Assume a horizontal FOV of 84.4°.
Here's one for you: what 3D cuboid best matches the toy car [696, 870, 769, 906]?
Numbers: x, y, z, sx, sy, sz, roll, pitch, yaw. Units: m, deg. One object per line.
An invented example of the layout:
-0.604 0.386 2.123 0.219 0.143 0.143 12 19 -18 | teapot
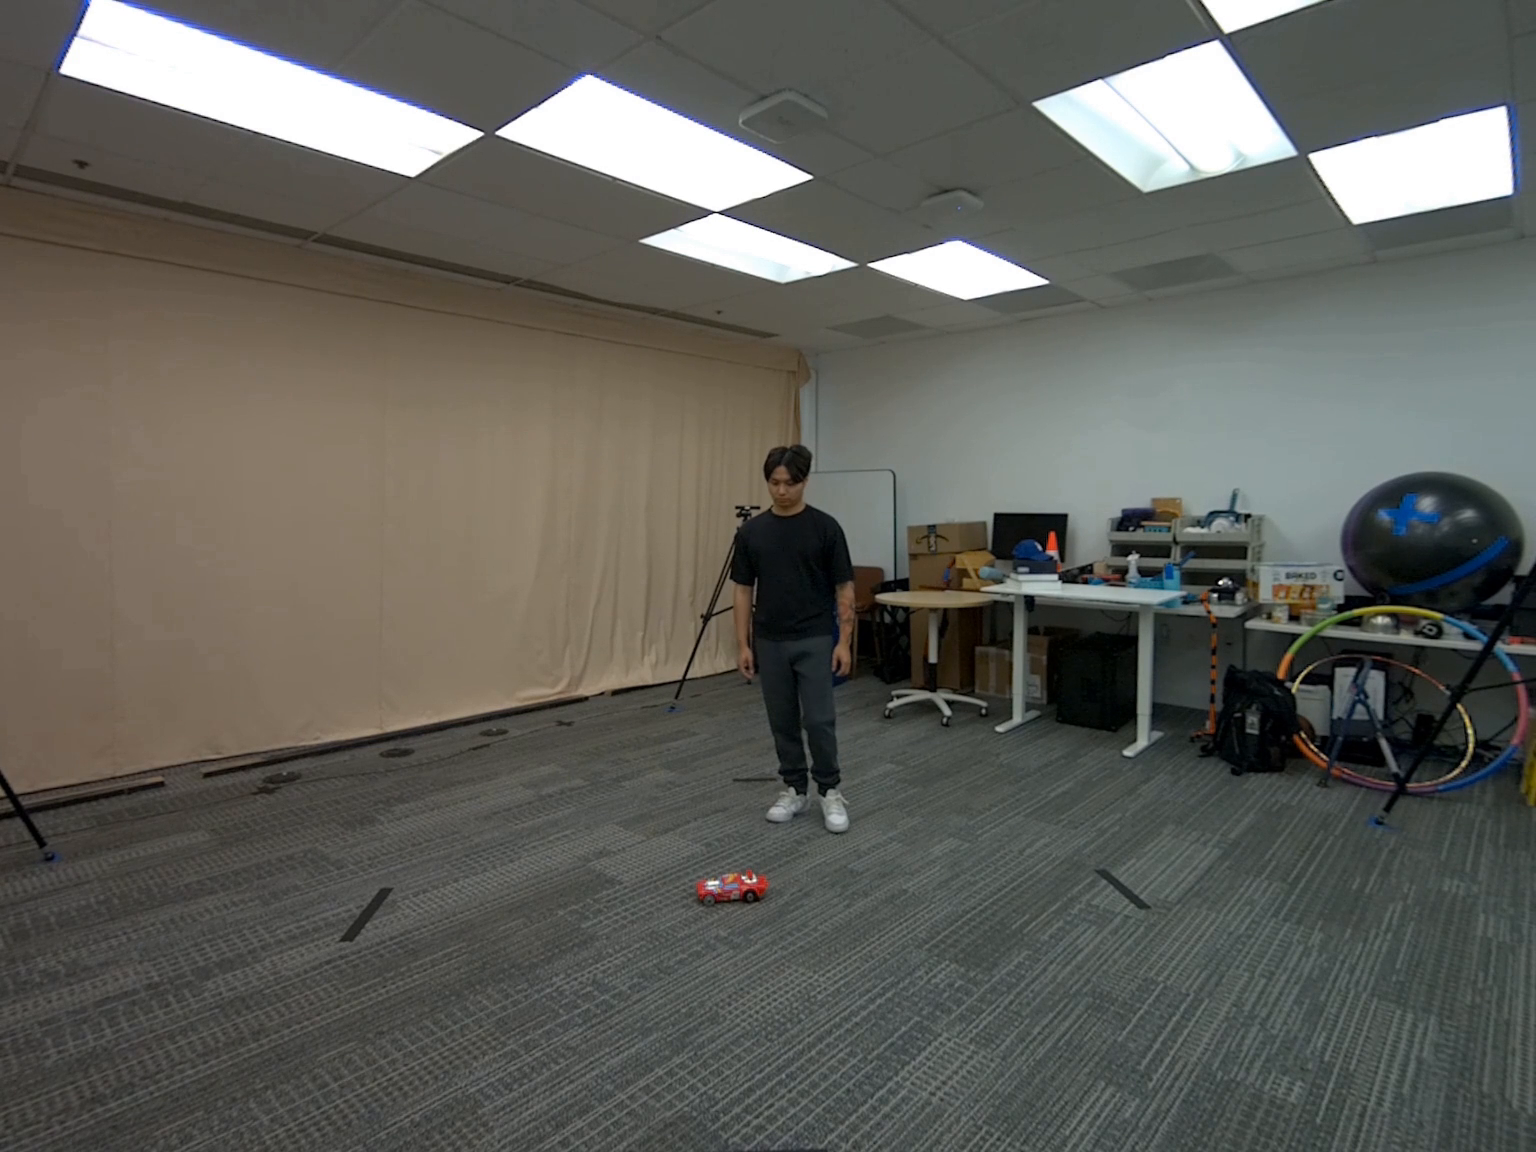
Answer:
-0.121 1.112 2.996 0.253 0.083 0.132 -12 7 -7 | toy car
